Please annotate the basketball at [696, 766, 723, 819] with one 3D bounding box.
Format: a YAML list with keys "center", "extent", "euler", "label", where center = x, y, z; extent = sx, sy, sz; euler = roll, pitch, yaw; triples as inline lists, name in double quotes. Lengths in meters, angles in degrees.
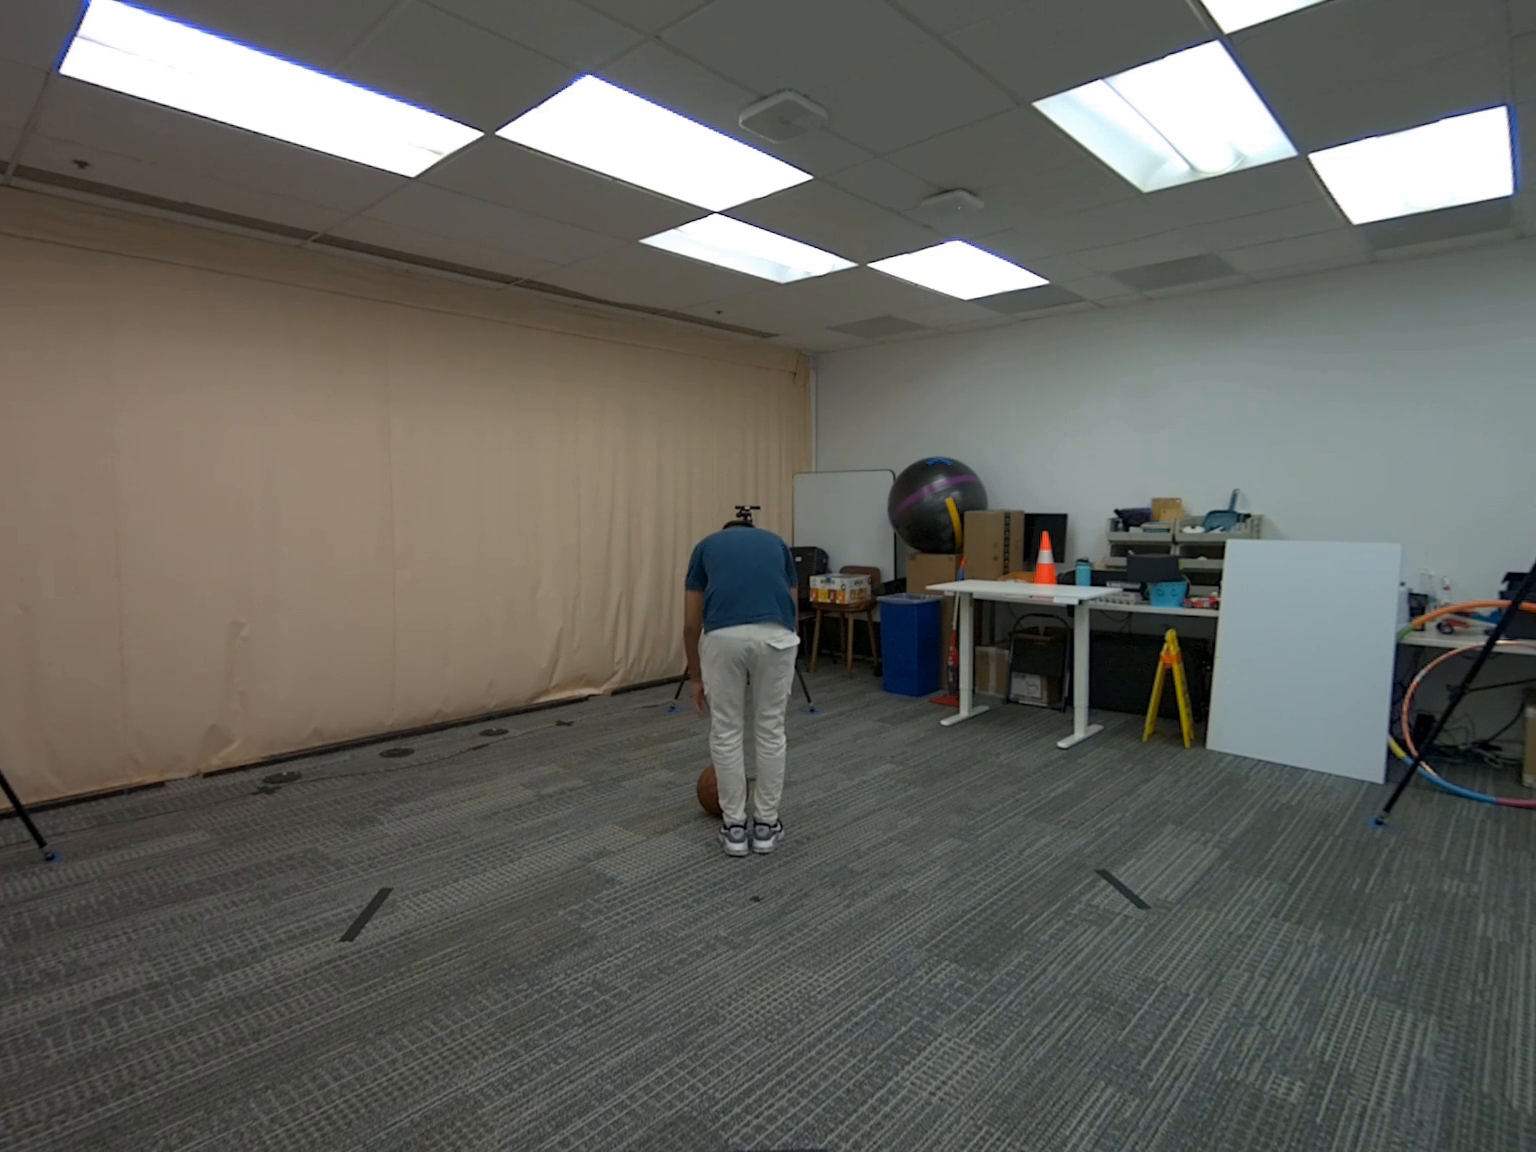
- center: [-0.208, 0.958, 3.795]
  extent: [0.236, 0.235, 0.237]
  euler: [0, 4, -2]
  label: "basketball"
